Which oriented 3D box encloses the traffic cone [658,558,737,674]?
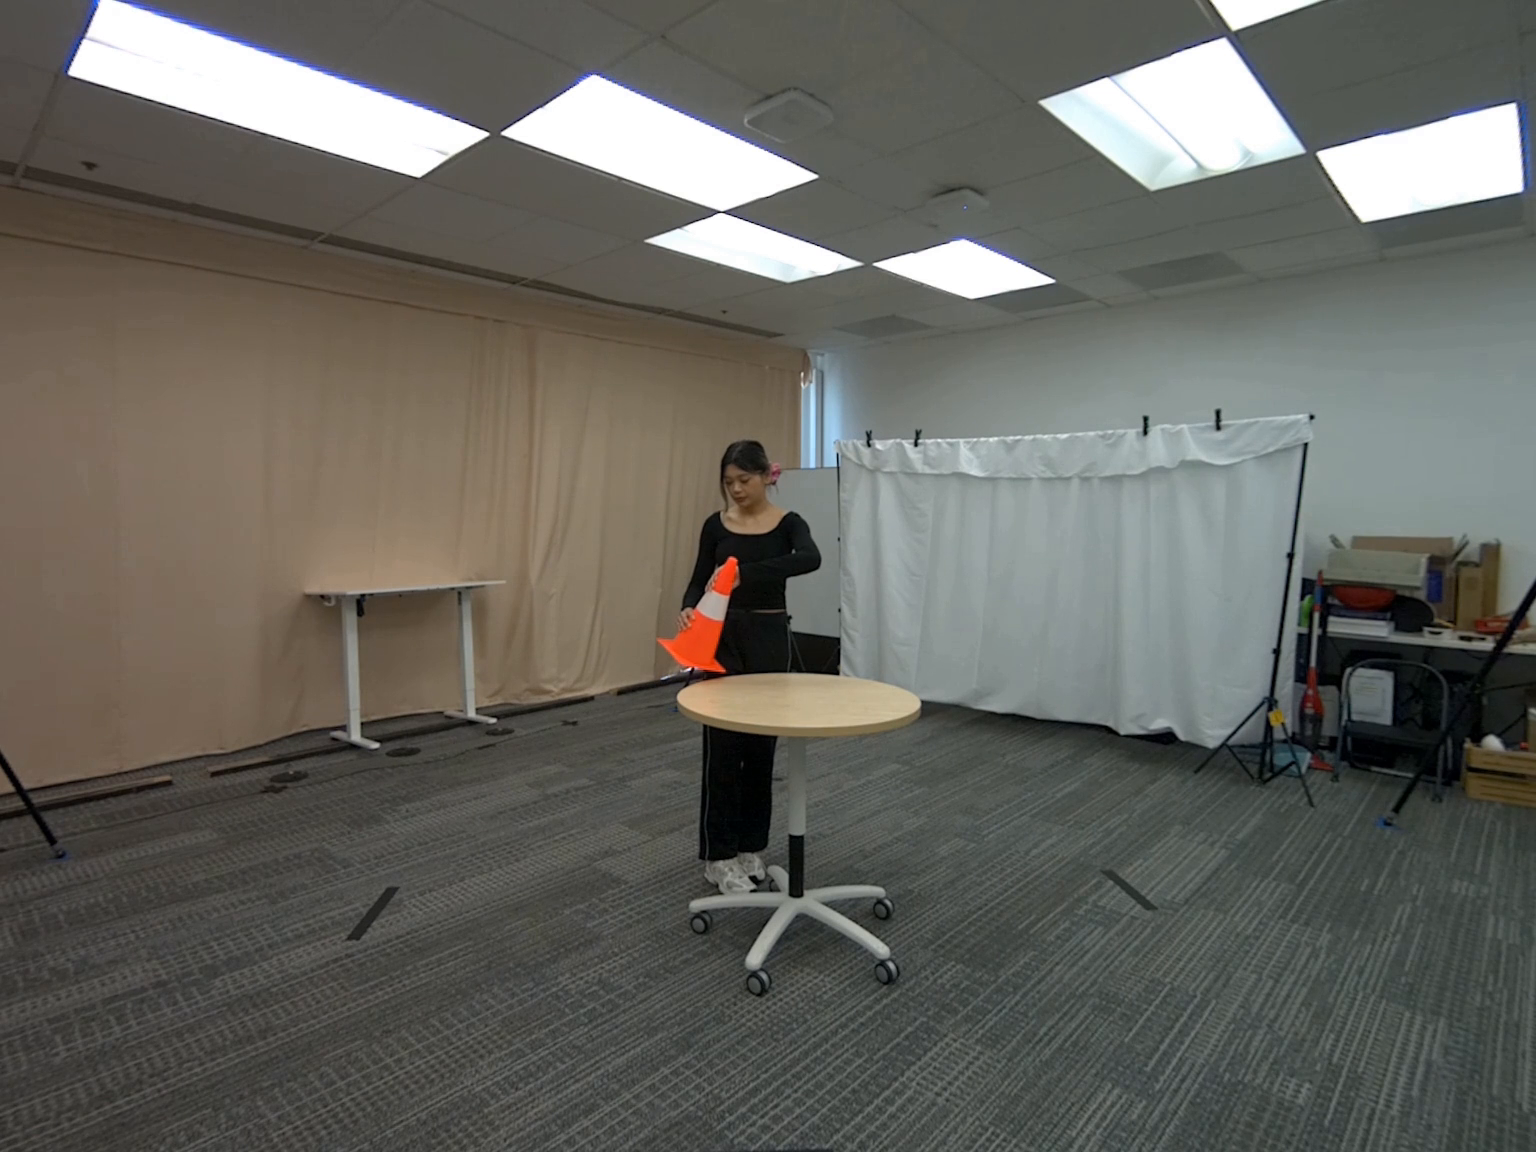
[{"bbox_3d":[-0.187,0.113,2.921,0.198,0.383,0.211,11,20,-43],"label":"traffic cone"}]
